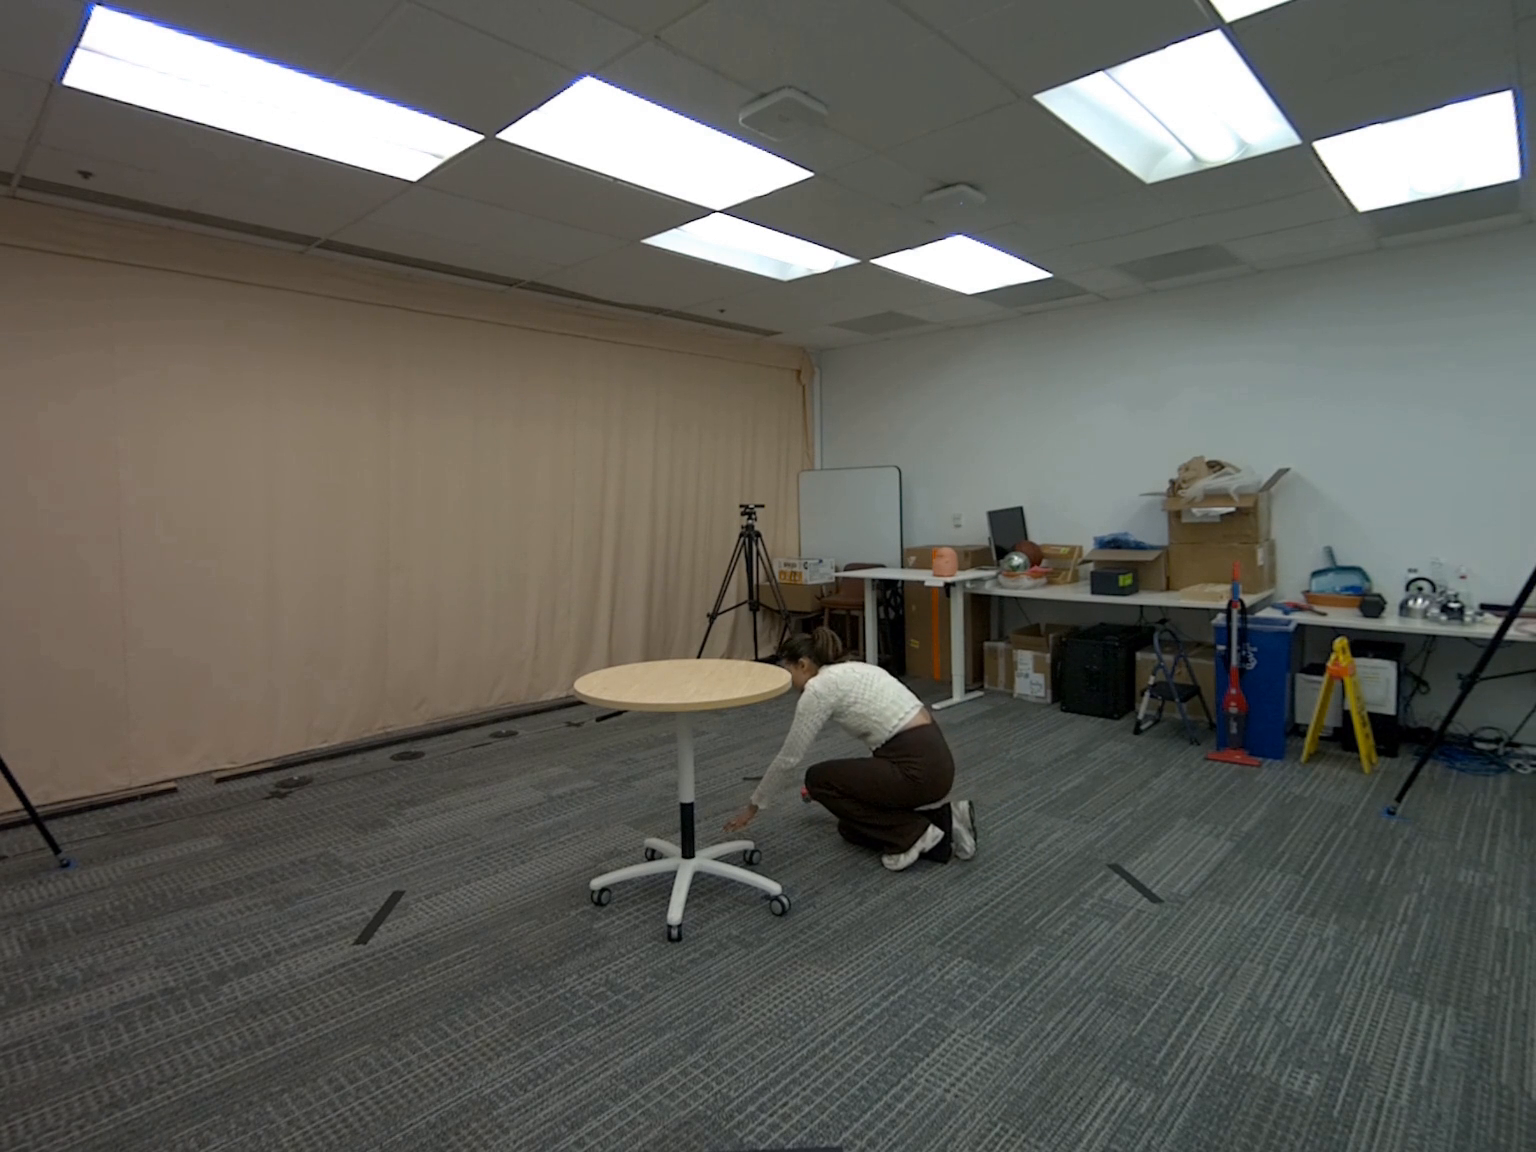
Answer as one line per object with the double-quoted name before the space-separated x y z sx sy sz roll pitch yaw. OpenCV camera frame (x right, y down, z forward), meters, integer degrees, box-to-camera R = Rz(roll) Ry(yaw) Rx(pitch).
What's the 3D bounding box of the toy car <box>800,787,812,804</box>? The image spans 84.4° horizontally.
"toy car" 0.274 0.966 3.682 0.257 0.083 0.129 -3 -2 9
